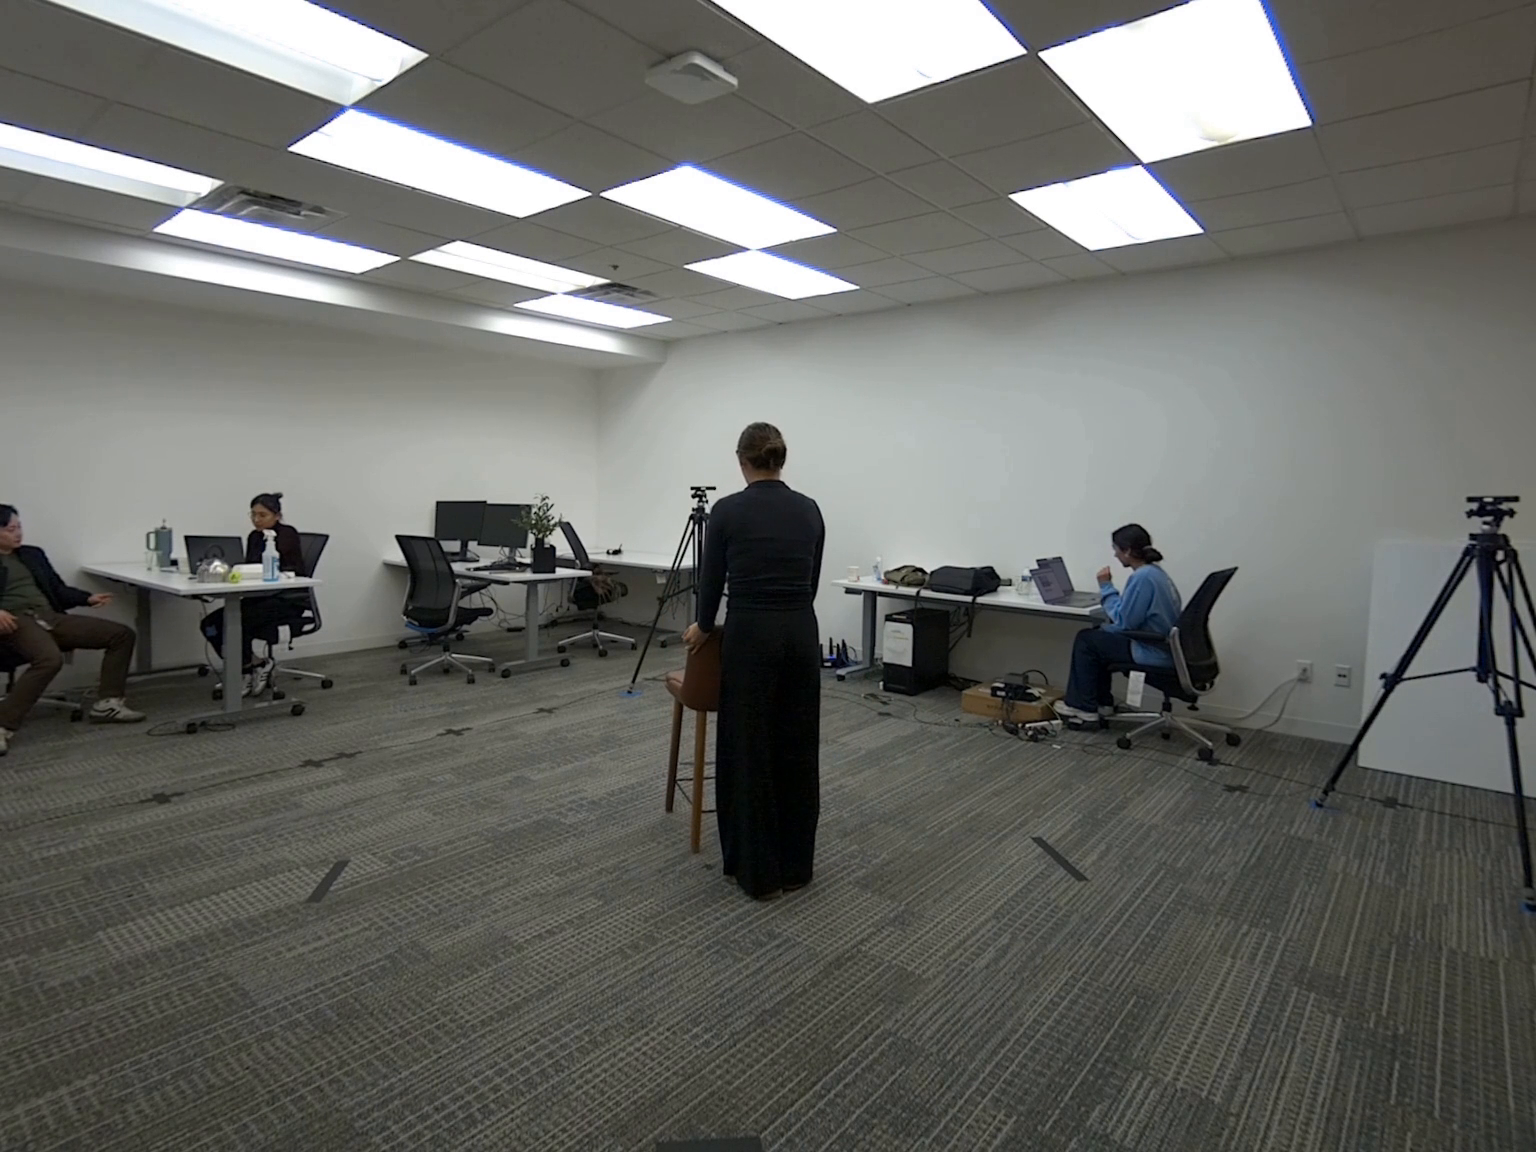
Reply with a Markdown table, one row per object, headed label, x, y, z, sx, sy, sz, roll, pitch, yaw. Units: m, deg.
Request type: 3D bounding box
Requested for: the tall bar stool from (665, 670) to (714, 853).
| label | x | y | z | sx | sy | sz | roll | pitch | yaw |
| --- | --- | --- | --- | --- | --- | --- | --- | --- | --- |
| tall bar stool | -0.177 | 0.590 | 3.460 | 0.449 | 0.886 | 0.478 | 0 | 5 | -17 |
